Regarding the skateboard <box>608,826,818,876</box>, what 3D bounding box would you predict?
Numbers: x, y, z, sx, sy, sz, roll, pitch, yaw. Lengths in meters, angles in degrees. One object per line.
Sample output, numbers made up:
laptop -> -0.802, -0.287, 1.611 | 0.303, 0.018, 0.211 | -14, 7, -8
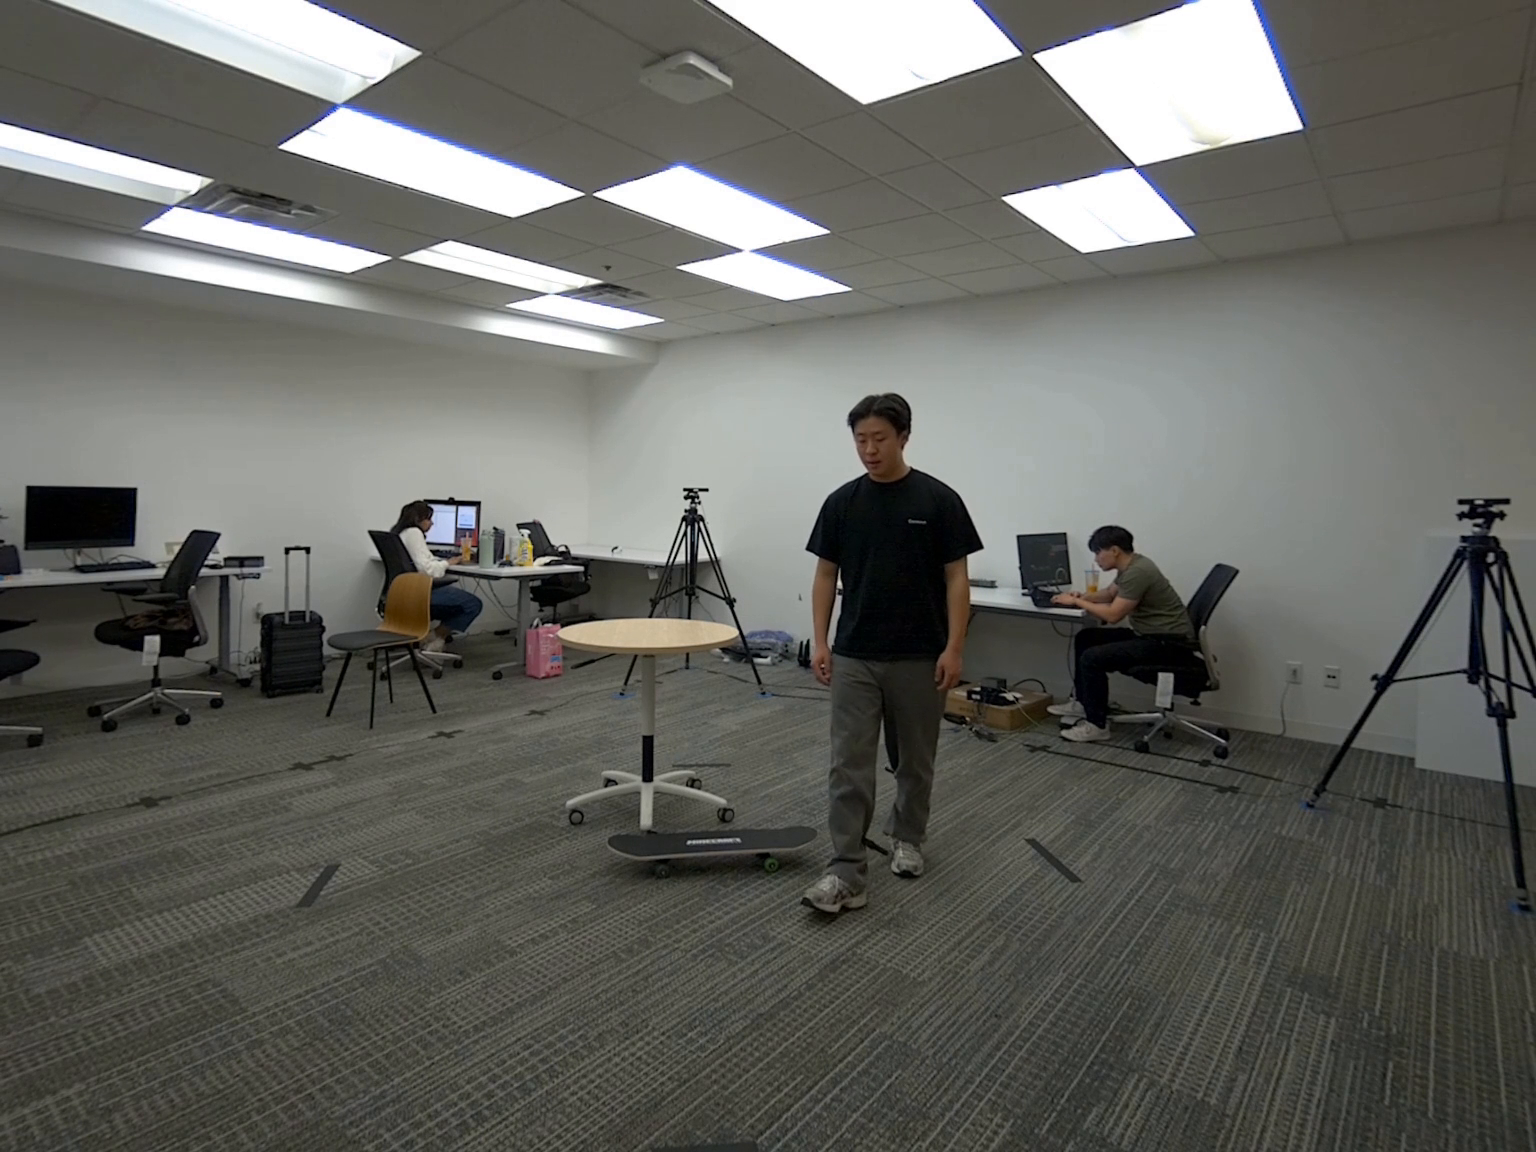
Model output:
skateboard -> -0.207, 1.010, 3.144 | 0.776, 0.110, 0.196 | -1, 4, -11
